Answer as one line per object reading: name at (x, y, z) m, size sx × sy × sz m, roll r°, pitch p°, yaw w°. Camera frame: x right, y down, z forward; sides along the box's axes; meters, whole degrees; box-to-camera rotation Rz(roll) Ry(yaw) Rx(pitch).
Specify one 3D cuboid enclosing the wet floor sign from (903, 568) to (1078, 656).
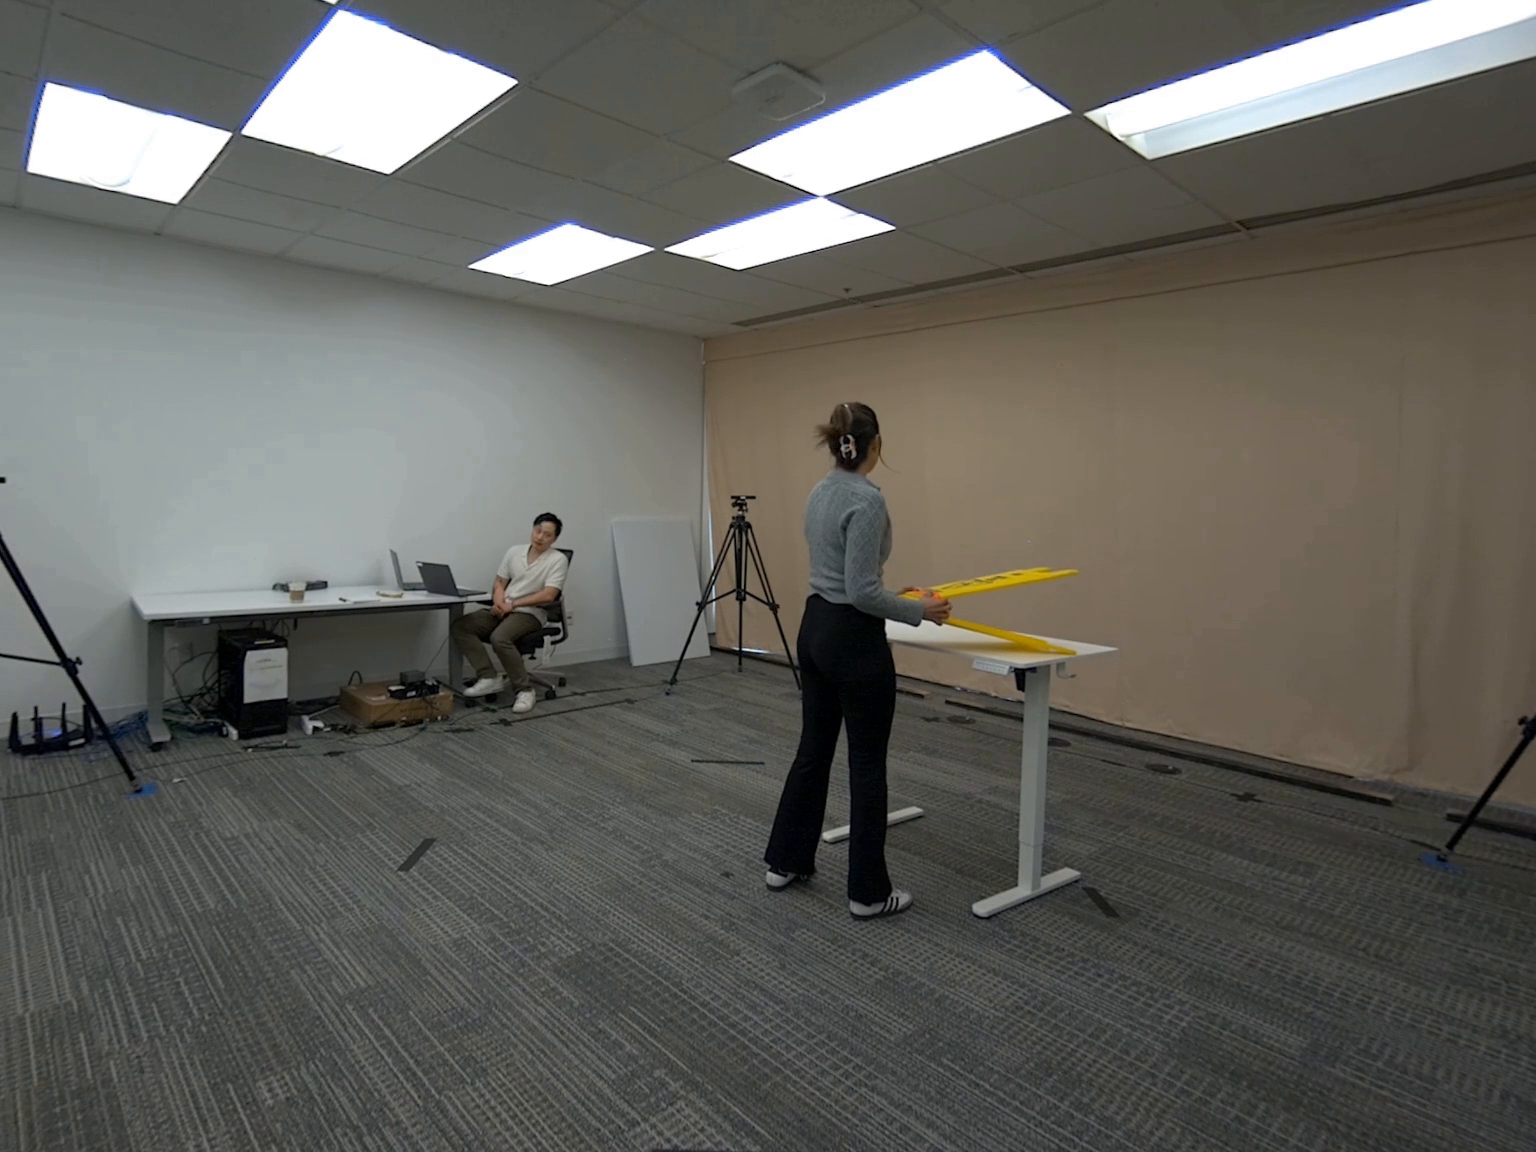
wet floor sign at (0.721, 0.107, 2.956) m, size 0.640 × 0.289 × 0.285 m, roll 2°, pitch 3°, yaw -11°
